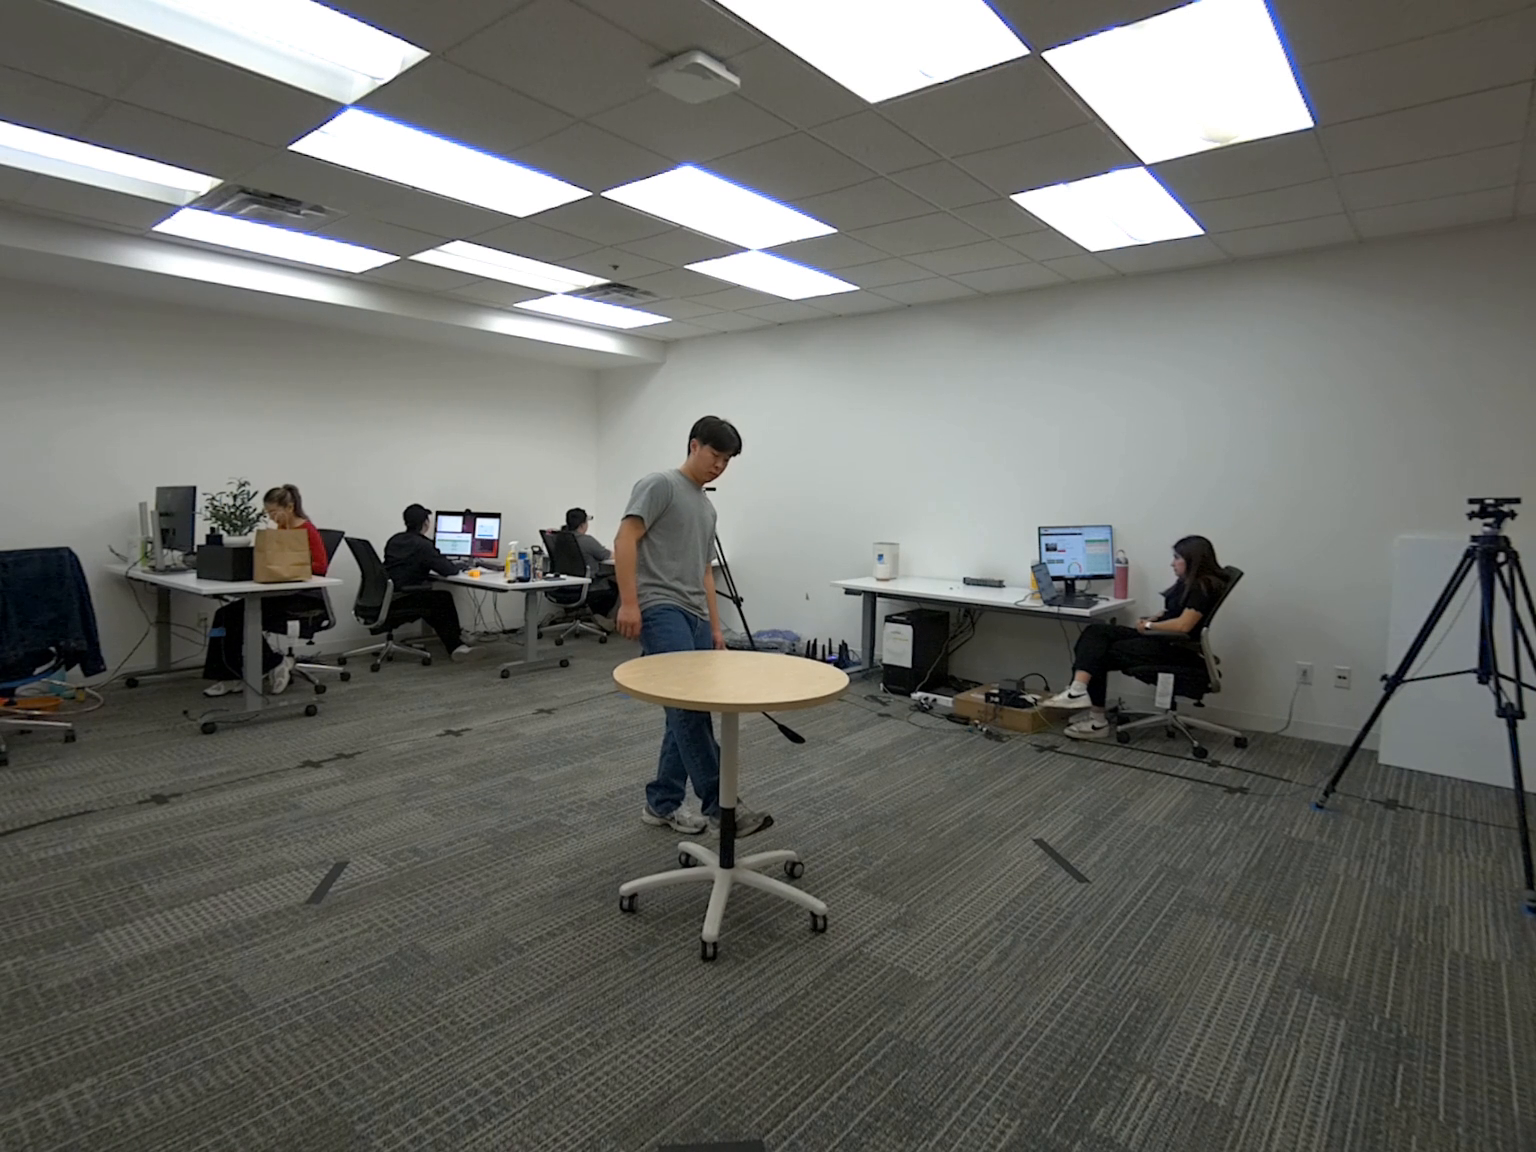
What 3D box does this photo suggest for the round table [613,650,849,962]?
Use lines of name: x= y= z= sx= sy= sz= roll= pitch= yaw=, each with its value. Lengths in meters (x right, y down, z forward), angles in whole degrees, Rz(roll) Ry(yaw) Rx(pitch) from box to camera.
round table: x=-0.144 y=0.708 z=2.797 sx=0.763 sy=0.791 sz=0.768 roll=2 pitch=5 yaw=-2
